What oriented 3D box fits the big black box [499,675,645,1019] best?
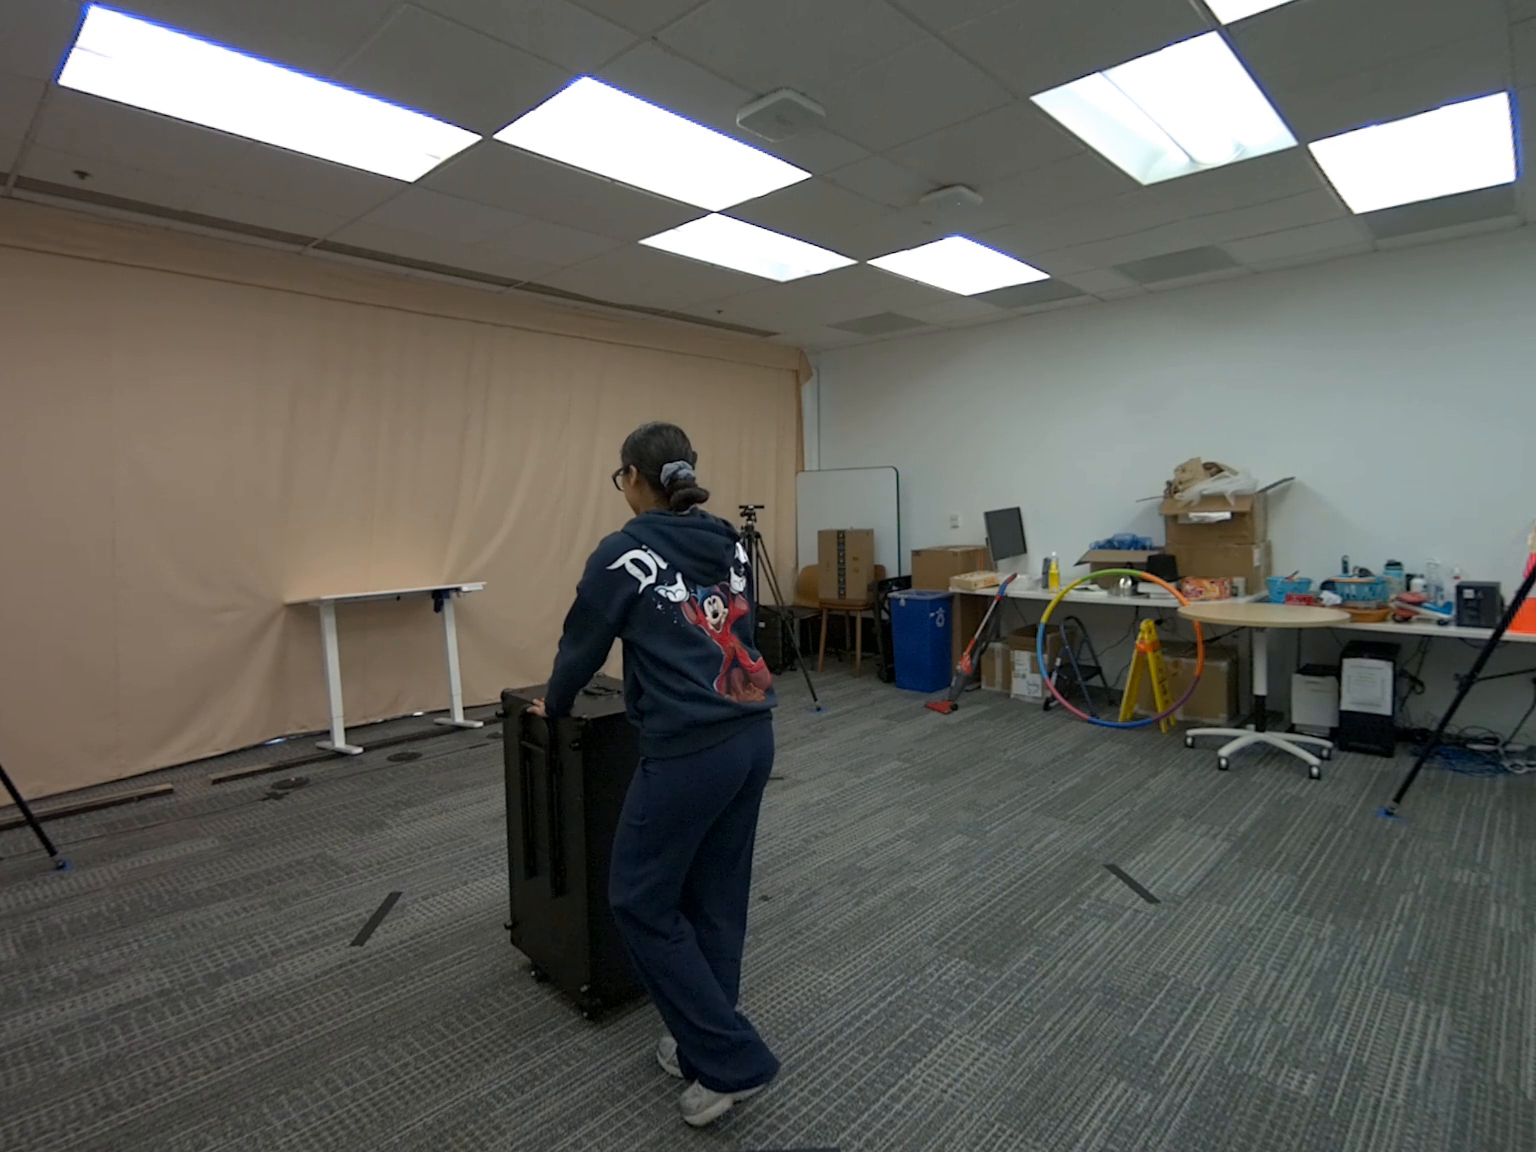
[{"bbox_3d":[-0.507,0.769,2.468,0.384,0.859,0.538,-5,5,-41],"label":"big black box"}]
